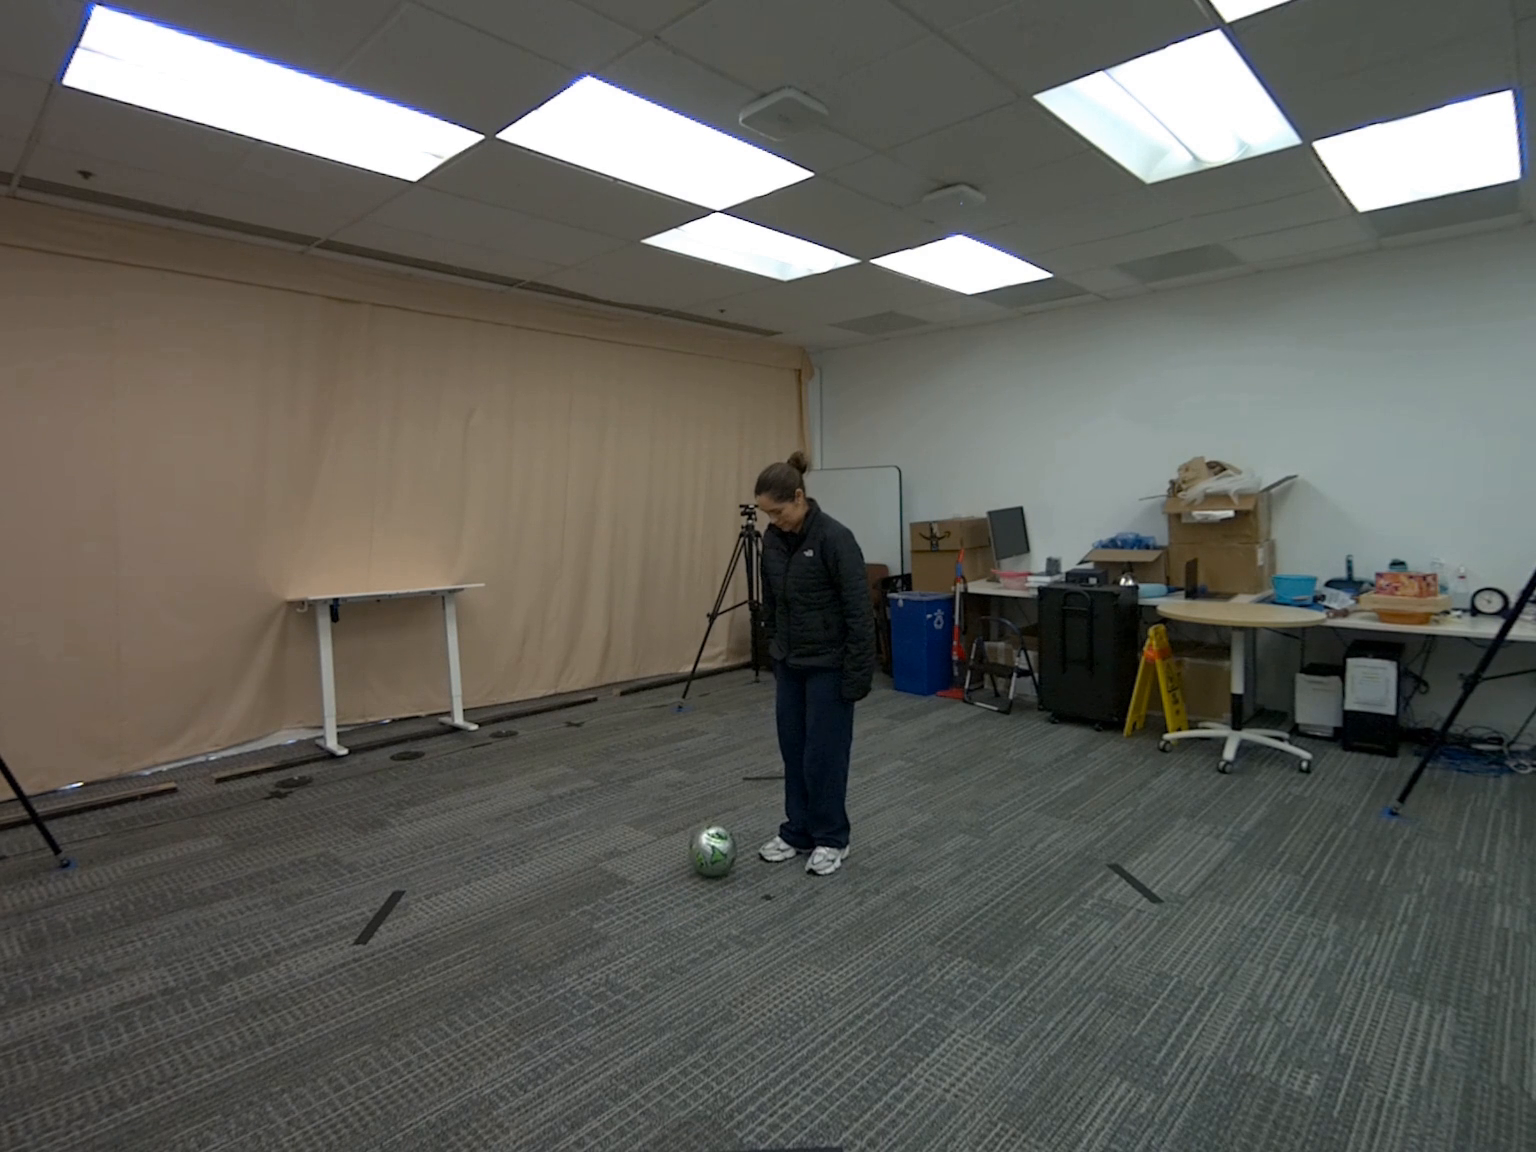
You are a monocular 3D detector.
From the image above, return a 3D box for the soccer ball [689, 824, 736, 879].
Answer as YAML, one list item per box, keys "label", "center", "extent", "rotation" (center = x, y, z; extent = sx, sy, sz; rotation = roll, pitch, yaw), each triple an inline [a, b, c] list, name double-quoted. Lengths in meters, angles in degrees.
- label: "soccer ball"
  center: [-0.208, 1.036, 3.173]
  extent: [0.187, 0.187, 0.188]
  rotation: [-1, 4, -2]
